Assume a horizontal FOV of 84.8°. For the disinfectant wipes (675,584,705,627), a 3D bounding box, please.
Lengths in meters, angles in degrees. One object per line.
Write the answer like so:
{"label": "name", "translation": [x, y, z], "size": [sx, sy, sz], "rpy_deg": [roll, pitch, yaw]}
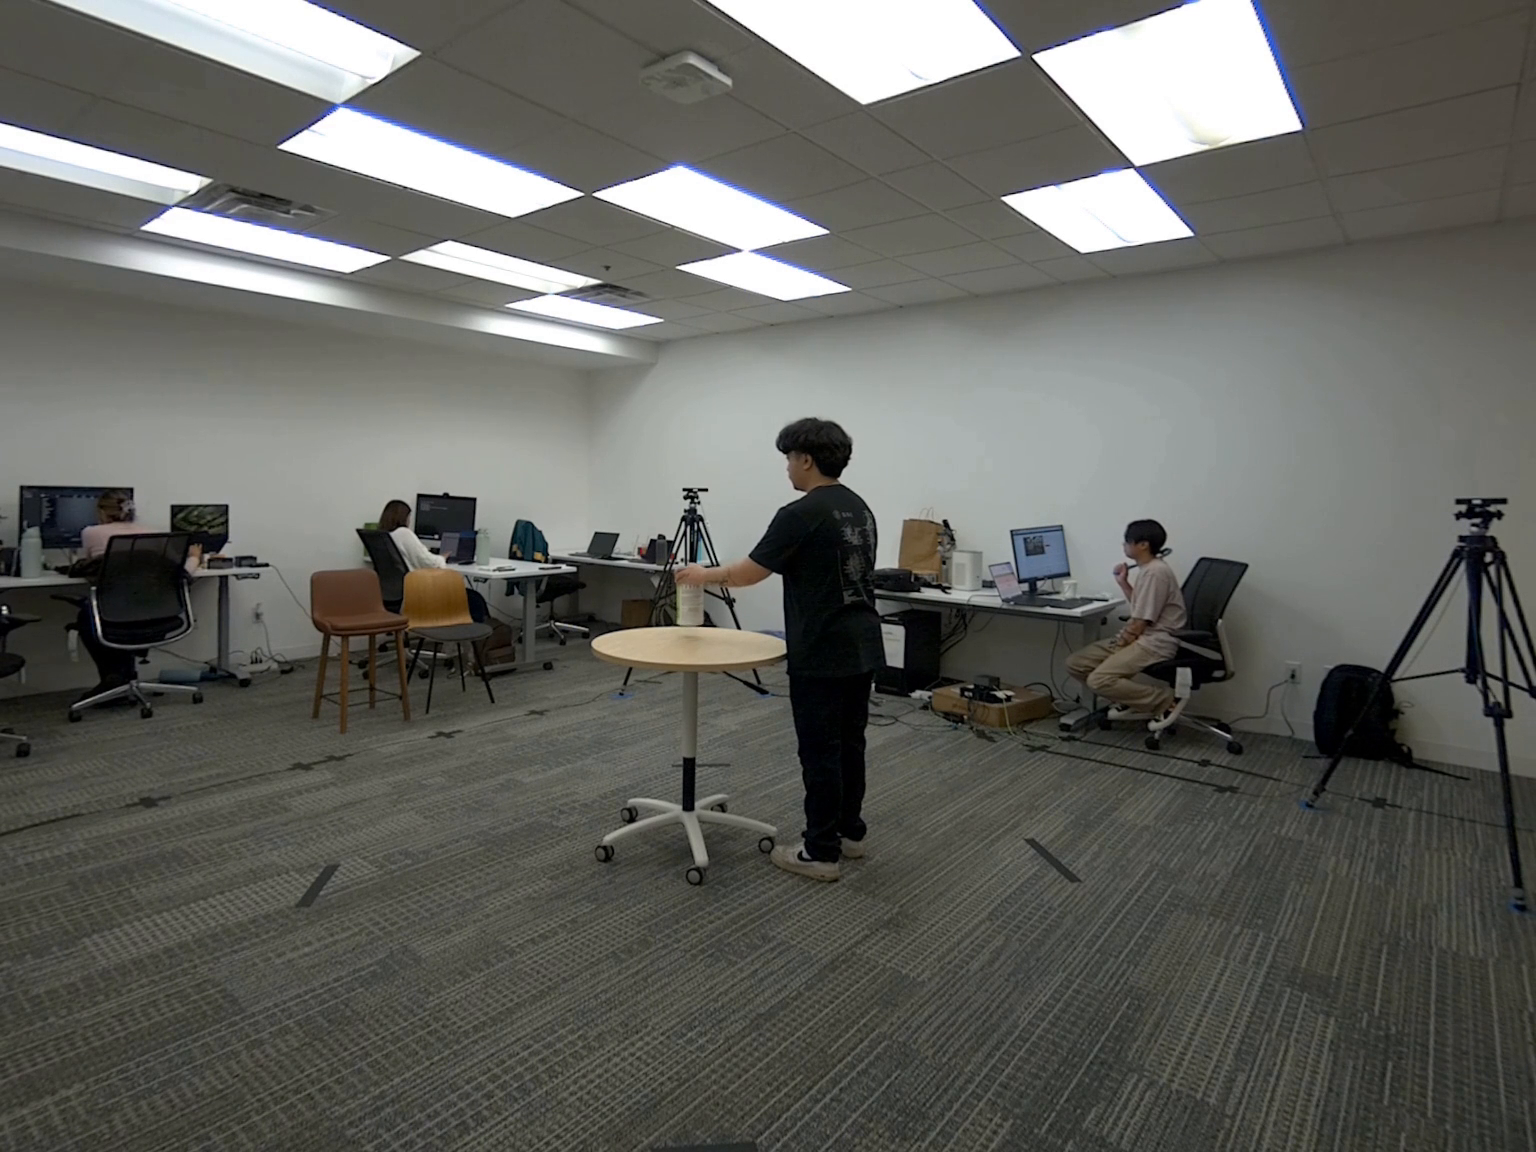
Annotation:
{"label": "disinfectant wipes", "translation": [-0.324, 0.076, 3.420], "size": [0.118, 0.216, 0.118], "rpy_deg": [0, 6, -2]}
